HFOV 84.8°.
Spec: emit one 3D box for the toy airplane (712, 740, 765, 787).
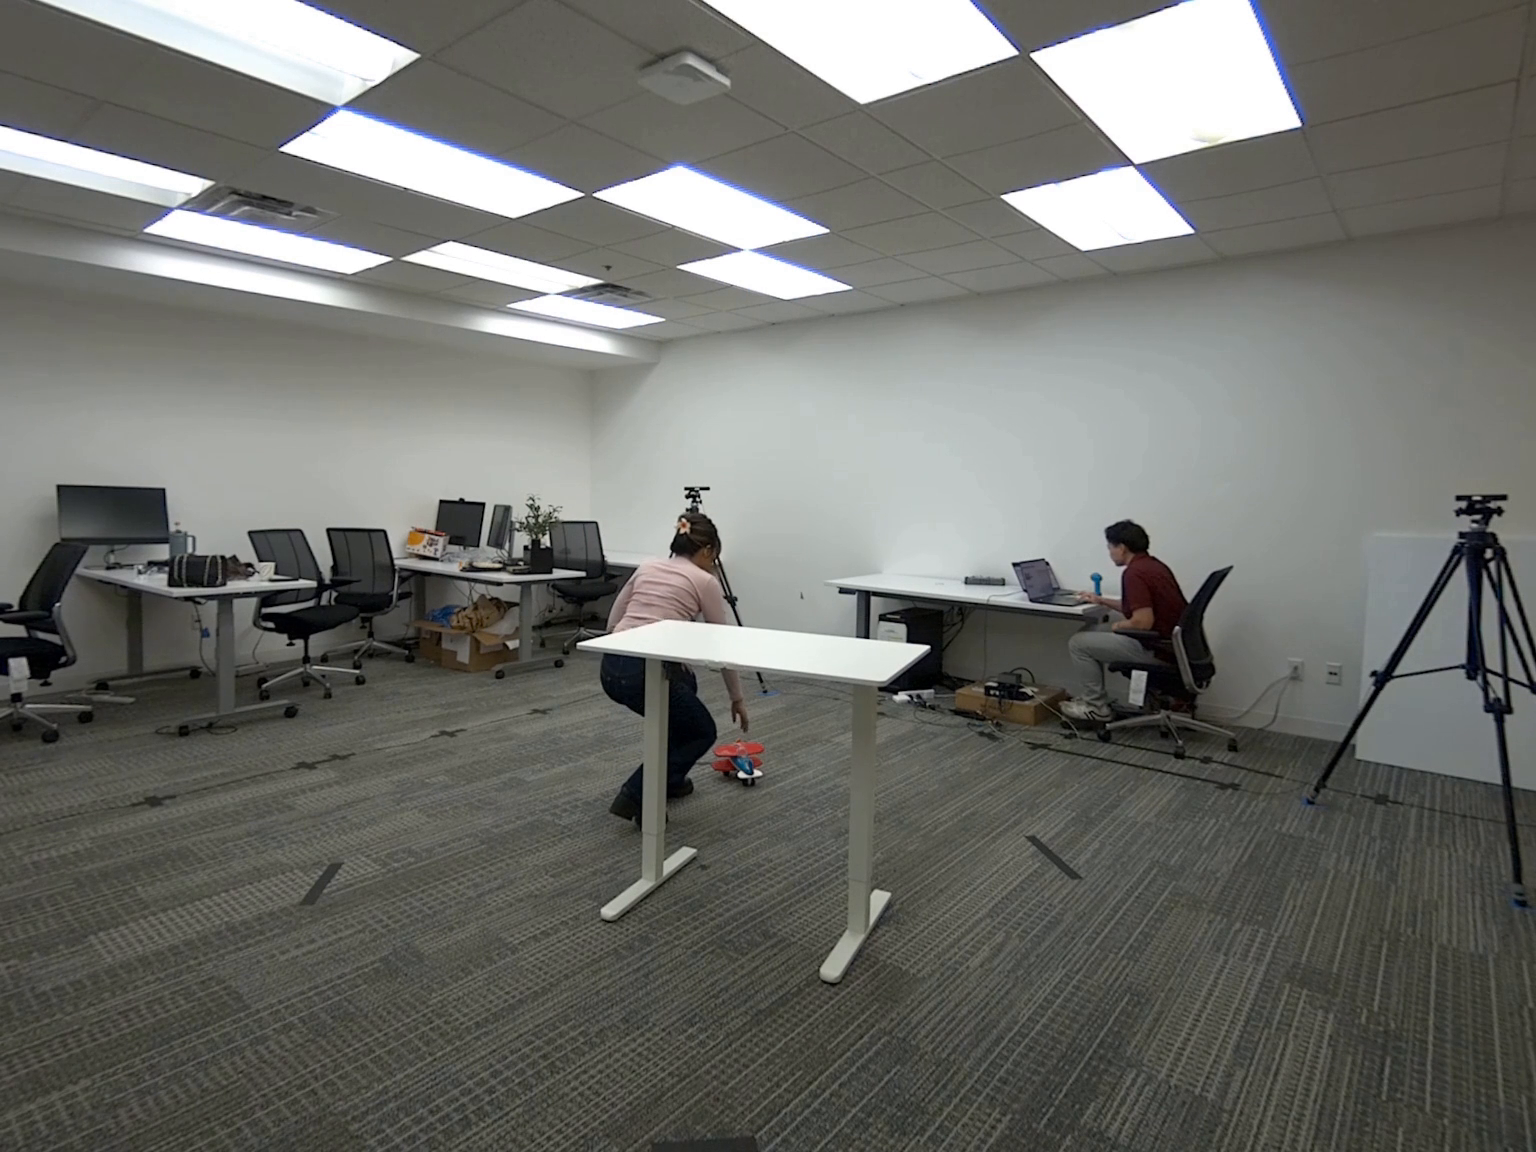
[{"bbox_3d":[-0.126,0.899,4.082,0.267,0.156,0.244,3,5,38],"label":"toy airplane"}]
